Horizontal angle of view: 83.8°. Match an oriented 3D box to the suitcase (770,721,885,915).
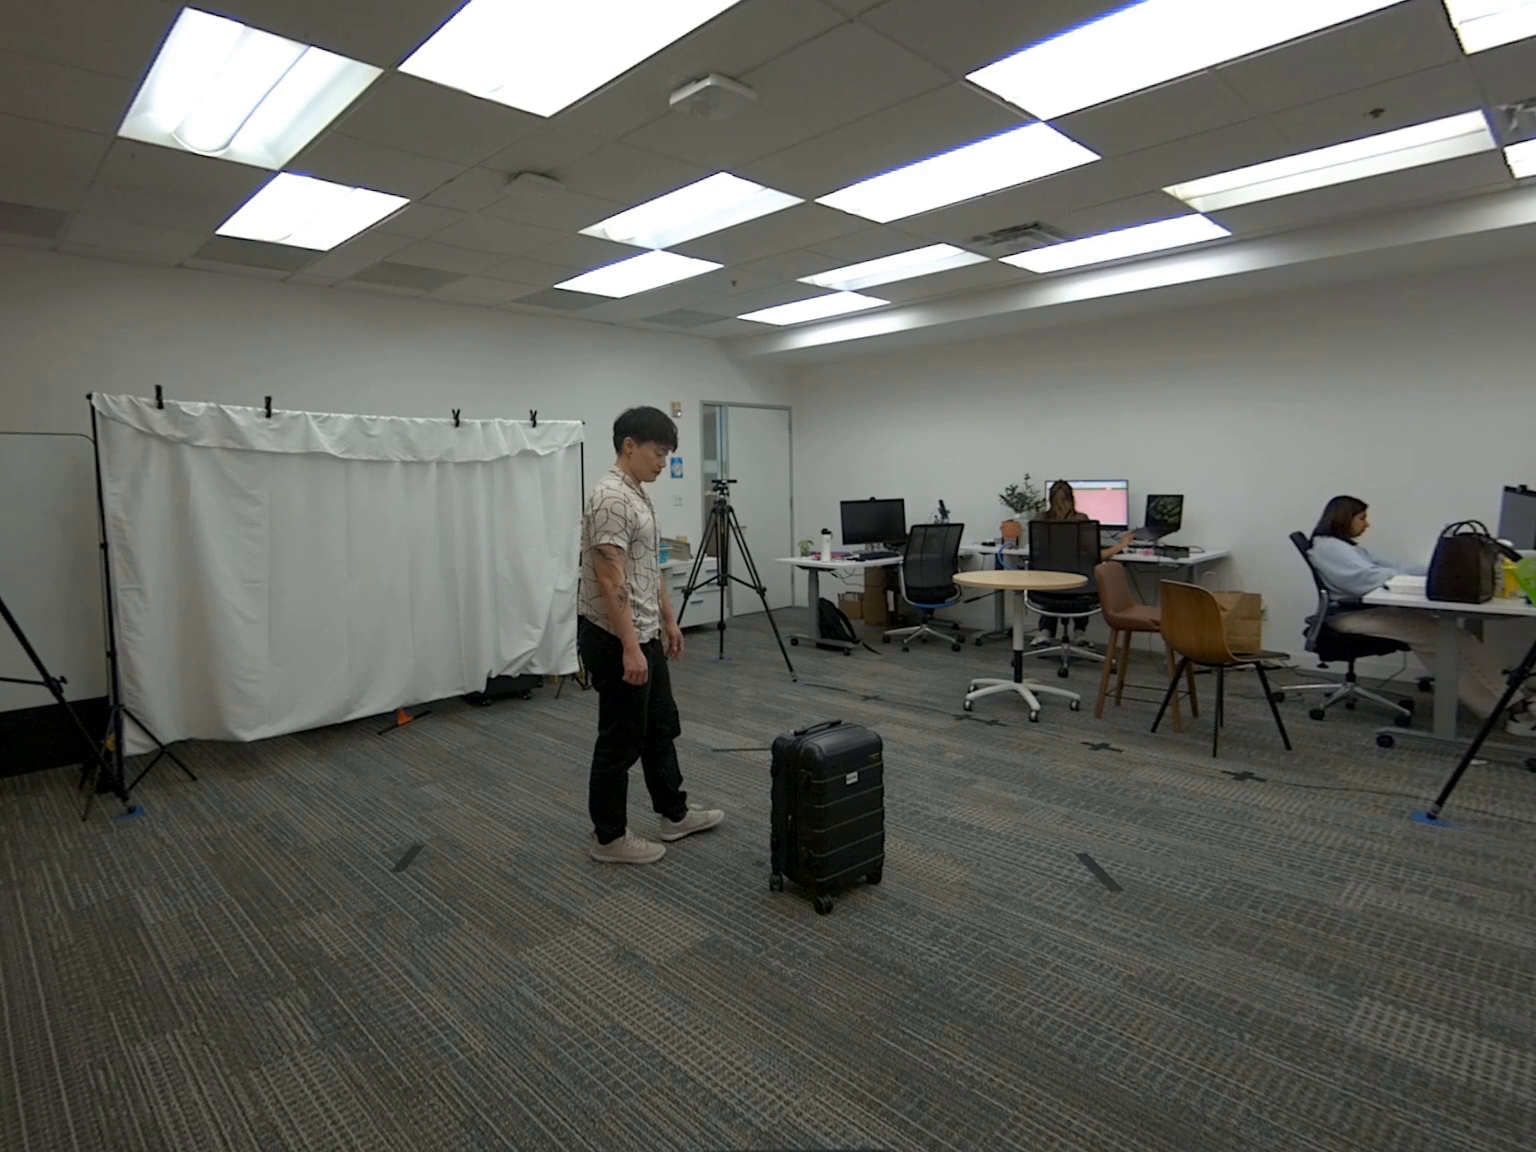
[{"bbox_3d":[0.214,0.787,2.921,0.365,0.547,0.256,-3,5,-39],"label":"suitcase"}]
